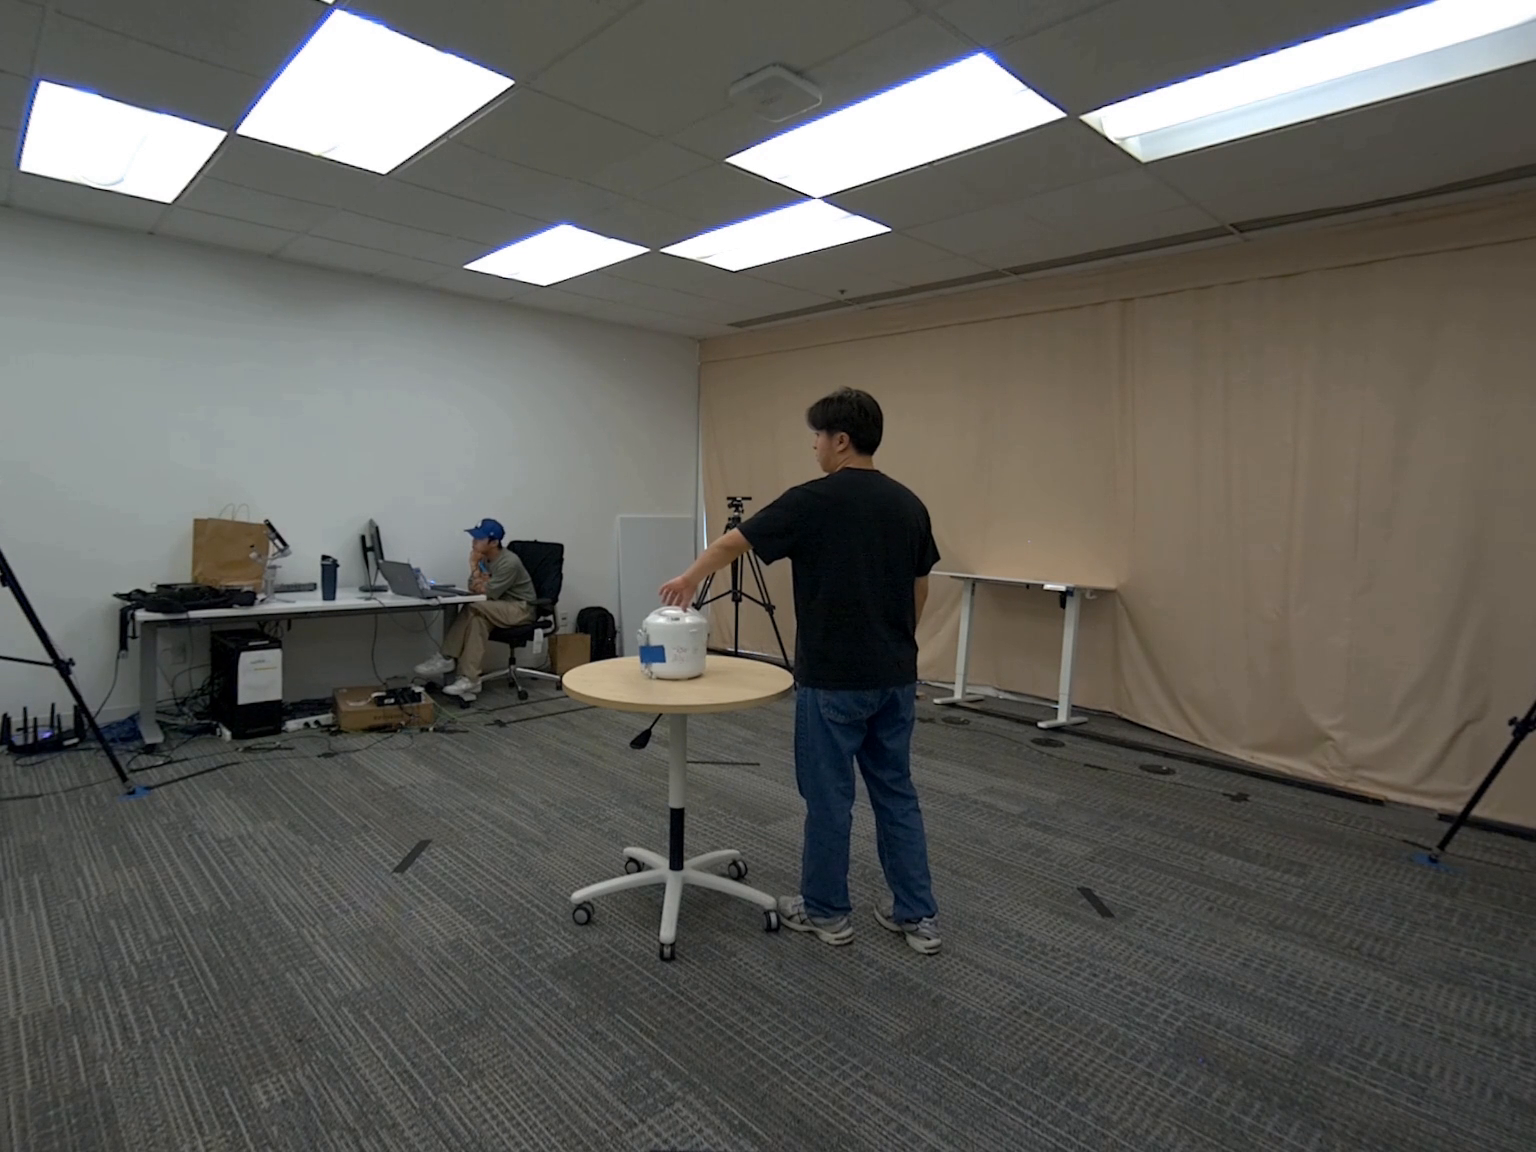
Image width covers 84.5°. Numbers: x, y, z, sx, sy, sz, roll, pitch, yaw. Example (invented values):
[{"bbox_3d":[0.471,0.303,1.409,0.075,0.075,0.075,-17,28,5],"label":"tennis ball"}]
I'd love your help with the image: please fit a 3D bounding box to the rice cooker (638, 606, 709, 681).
[{"bbox_3d":[-0.312,0.217,2.823,0.223,0.232,0.216,2,5,11],"label":"rice cooker"}]
